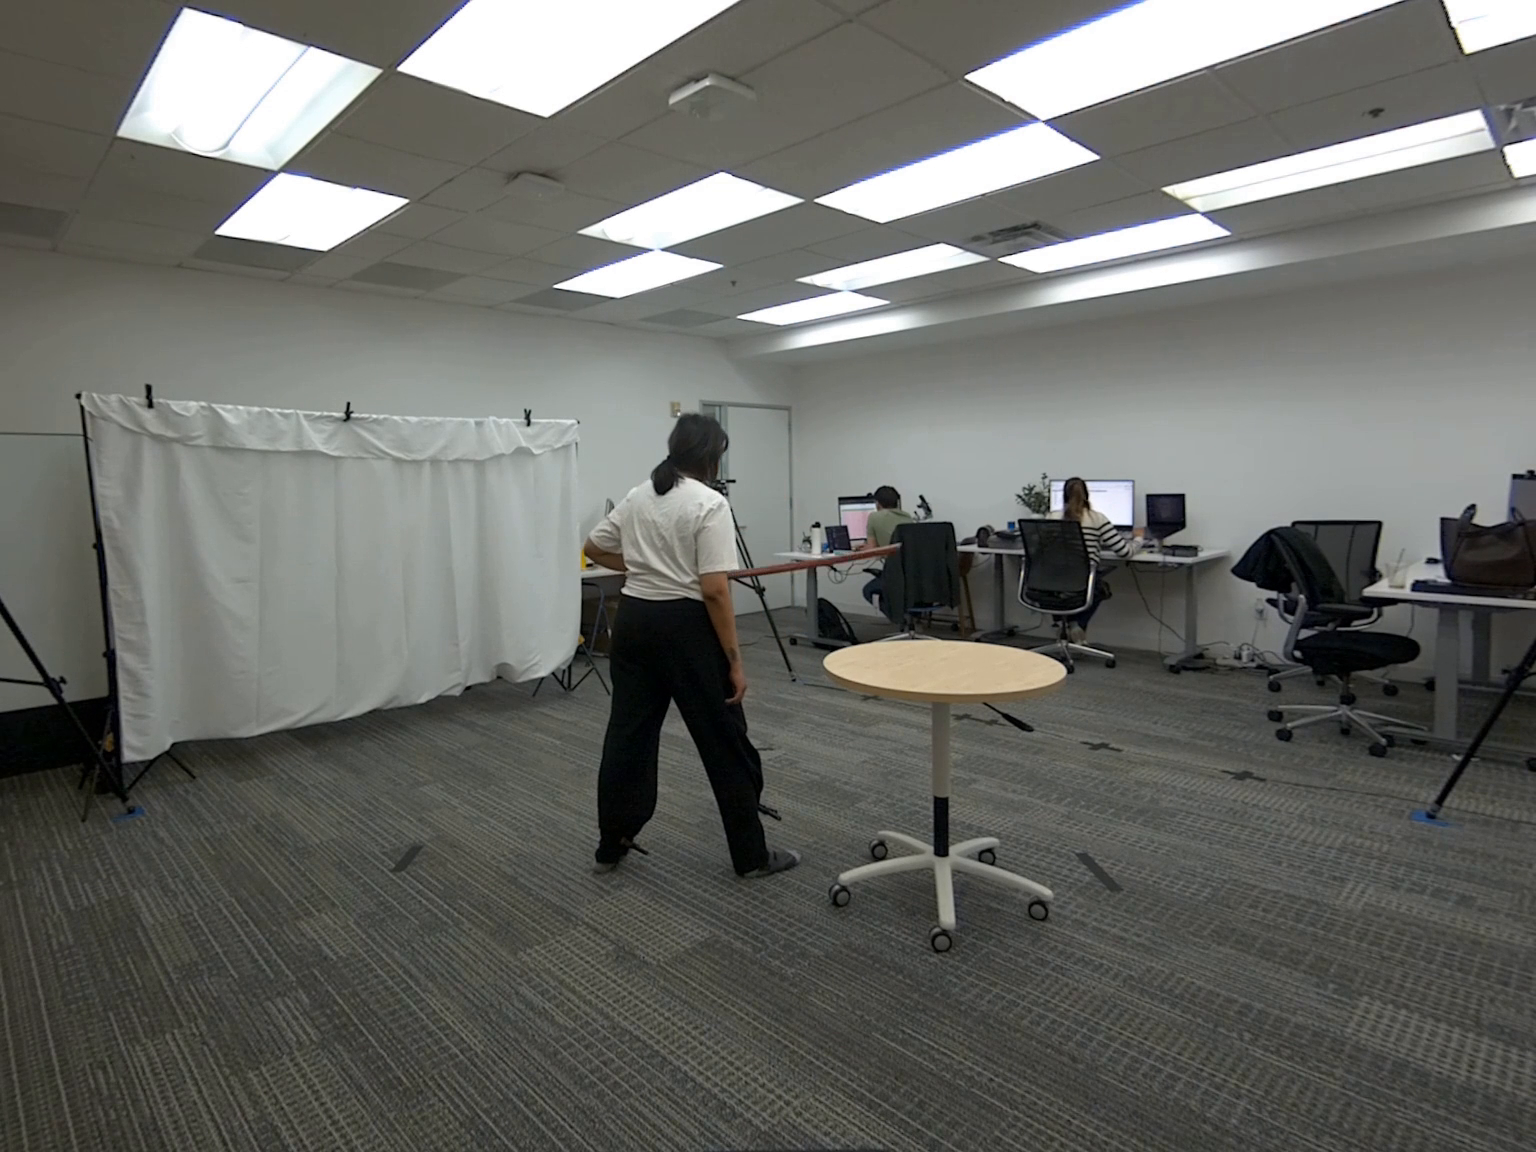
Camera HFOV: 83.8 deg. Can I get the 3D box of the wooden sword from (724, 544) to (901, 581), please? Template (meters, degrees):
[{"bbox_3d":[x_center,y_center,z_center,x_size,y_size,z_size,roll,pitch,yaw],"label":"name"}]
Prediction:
[{"bbox_3d":[0.052,-0.033,3.360,1.018,0.052,0.024,-8,-23,-8],"label":"wooden sword"}]
